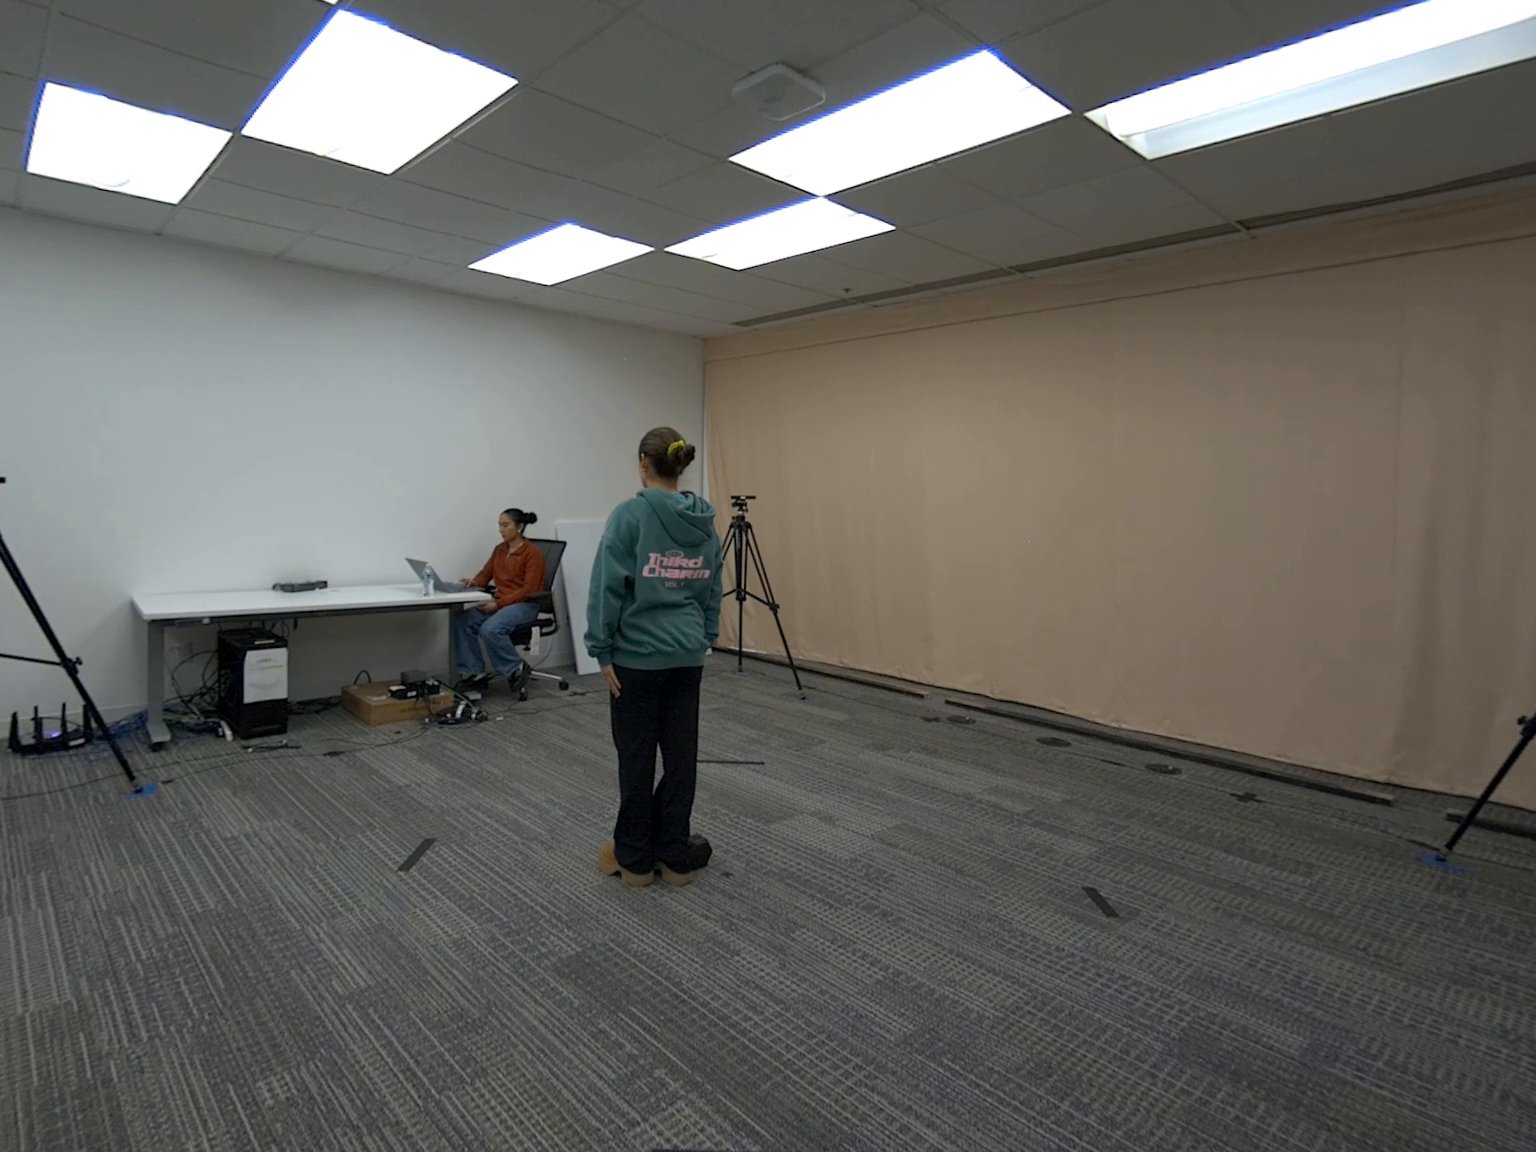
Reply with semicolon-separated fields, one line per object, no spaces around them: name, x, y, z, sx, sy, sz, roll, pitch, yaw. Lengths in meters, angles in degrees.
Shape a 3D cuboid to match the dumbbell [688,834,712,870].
dumbbell;-0.346;1.029;3.253;0.105;0.123;0.301;38;-18;-36
